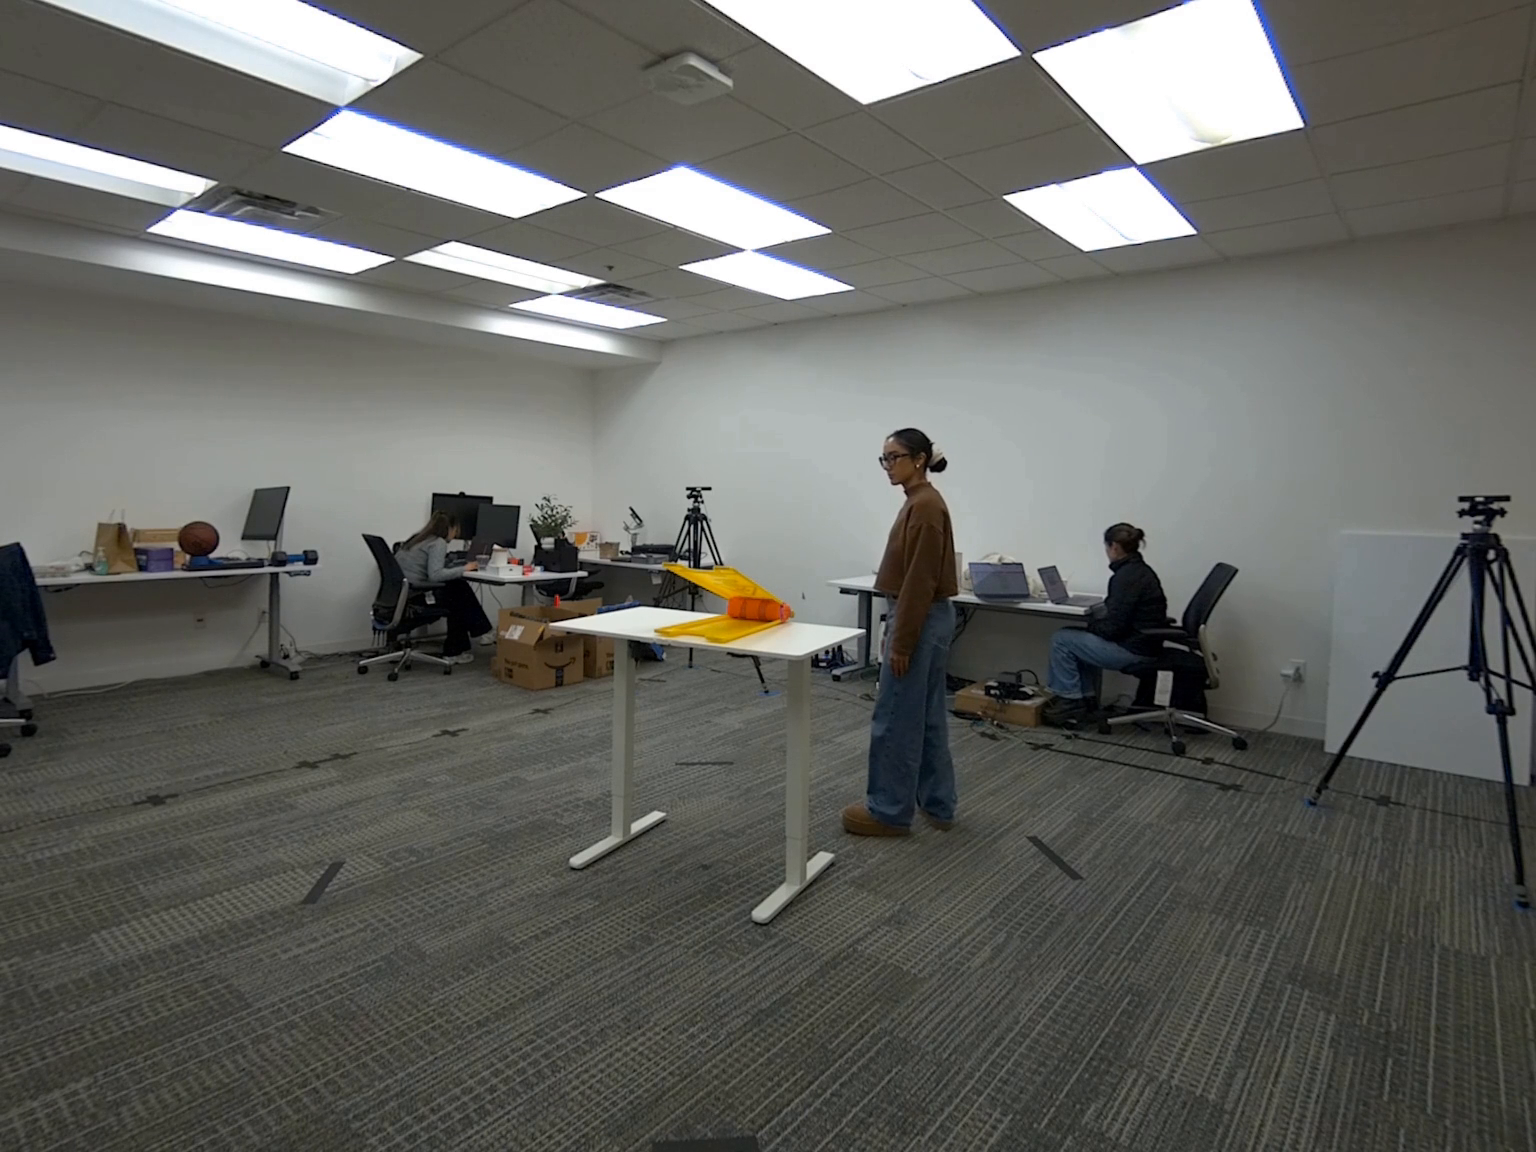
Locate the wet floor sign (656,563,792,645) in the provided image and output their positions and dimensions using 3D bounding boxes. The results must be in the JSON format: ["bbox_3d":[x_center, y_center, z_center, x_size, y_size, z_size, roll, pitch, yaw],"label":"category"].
[{"bbox_3d":[-0.132,0.115,3.129,0.290,0.291,0.627,3,-3,26],"label":"wet floor sign"}]
